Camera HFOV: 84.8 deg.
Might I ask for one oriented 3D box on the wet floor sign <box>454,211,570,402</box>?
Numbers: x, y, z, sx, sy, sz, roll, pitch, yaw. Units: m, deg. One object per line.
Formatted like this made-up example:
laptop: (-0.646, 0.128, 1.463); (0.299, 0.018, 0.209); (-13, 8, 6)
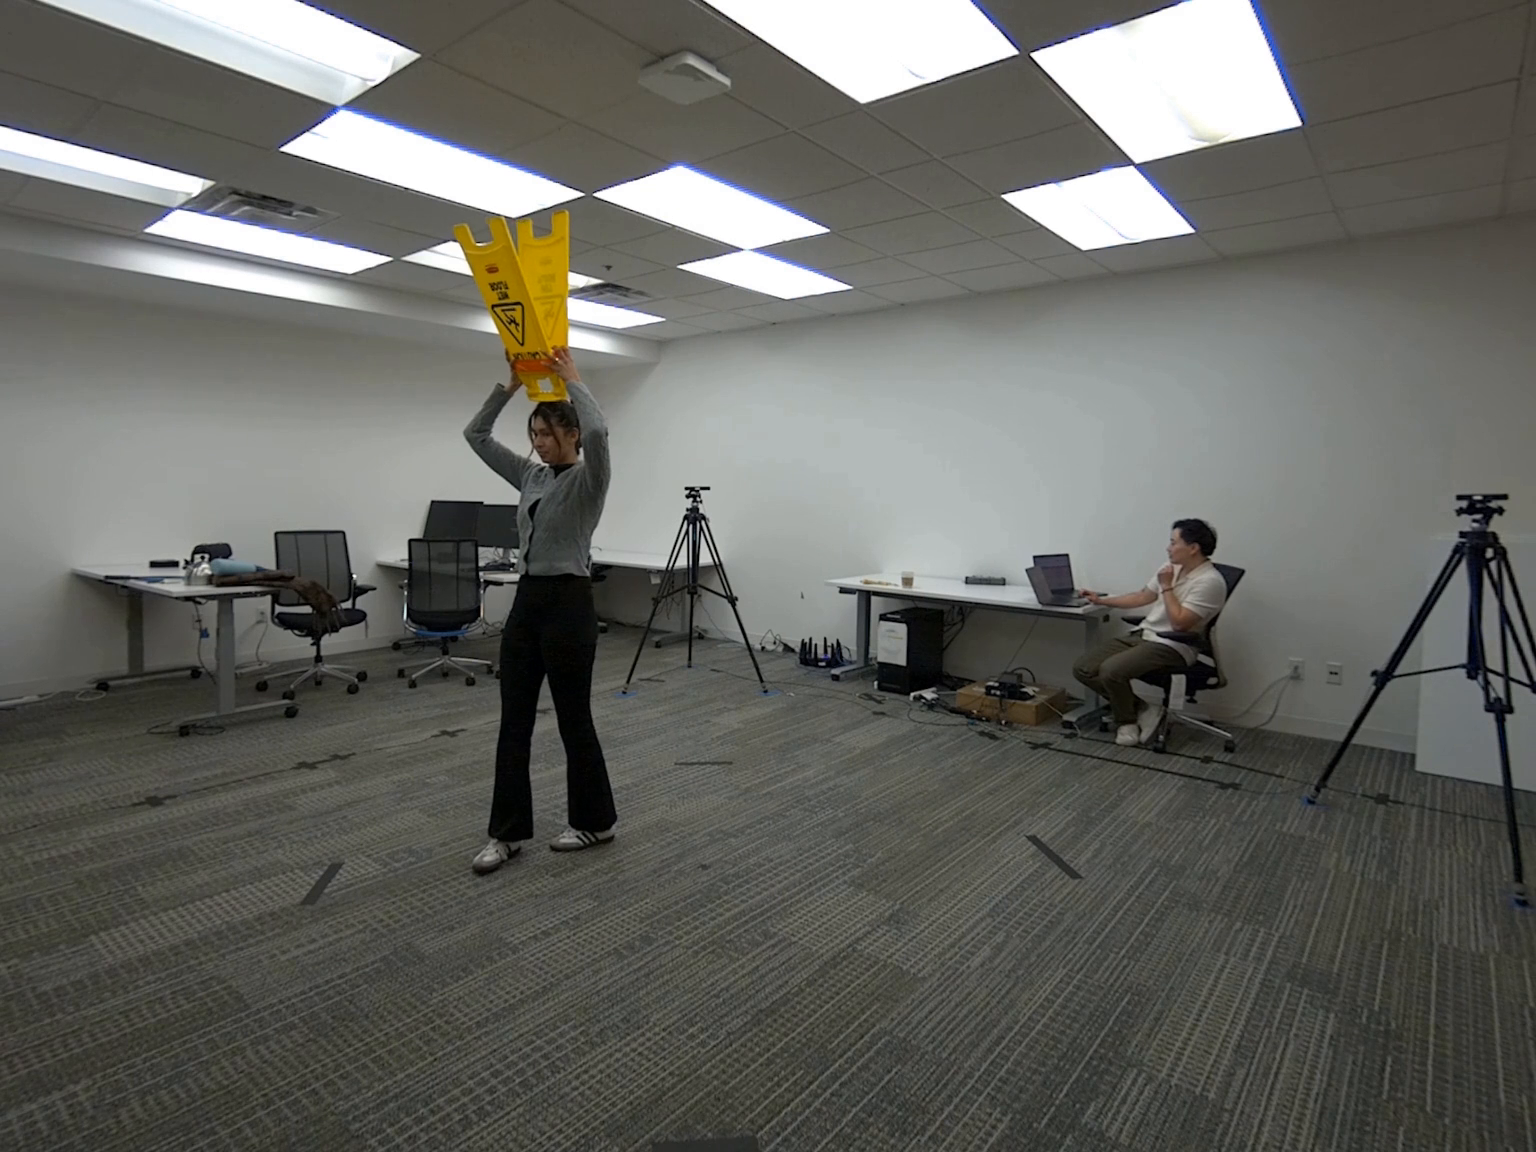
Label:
wet floor sign: (-0.865, -0.948, 3.056); (0.292, 0.633, 0.285); (8, 25, 39)
